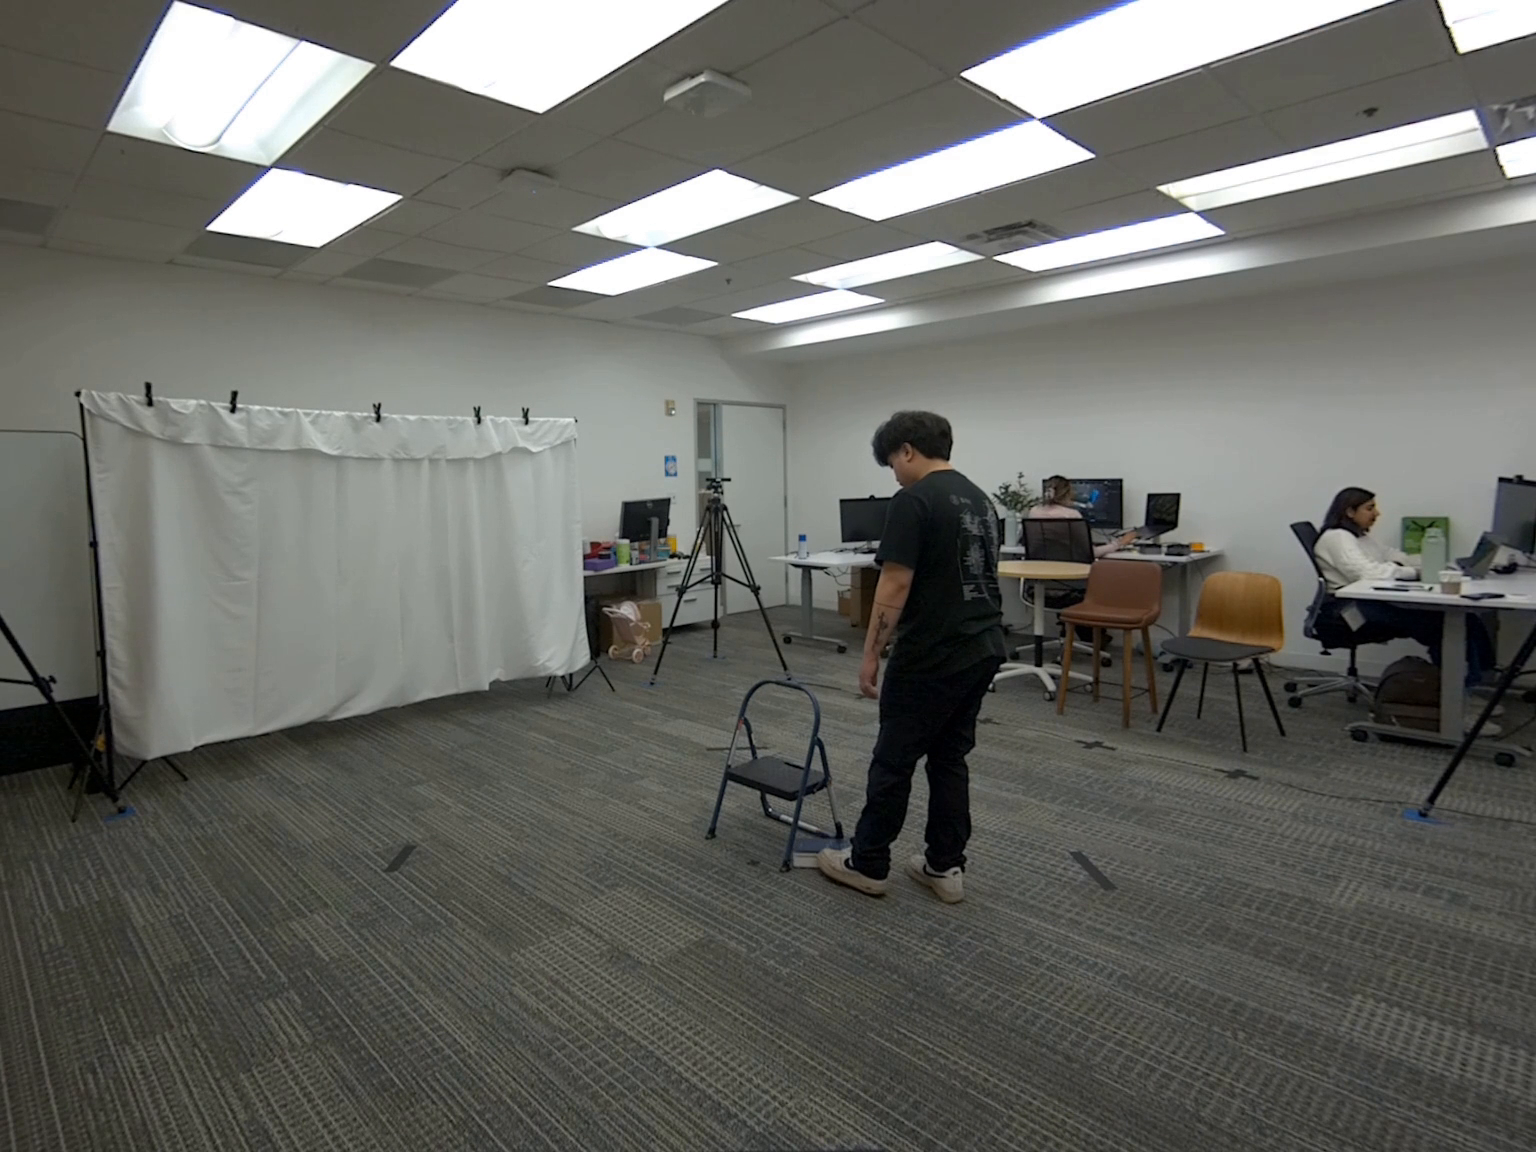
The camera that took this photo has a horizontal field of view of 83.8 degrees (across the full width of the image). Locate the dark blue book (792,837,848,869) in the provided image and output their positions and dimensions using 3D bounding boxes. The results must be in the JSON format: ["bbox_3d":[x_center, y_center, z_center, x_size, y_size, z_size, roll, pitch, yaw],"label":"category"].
[{"bbox_3d":[0.223,1.008,3.126,0.247,0.045,0.162,0,3,6],"label":"dark blue book"}]
